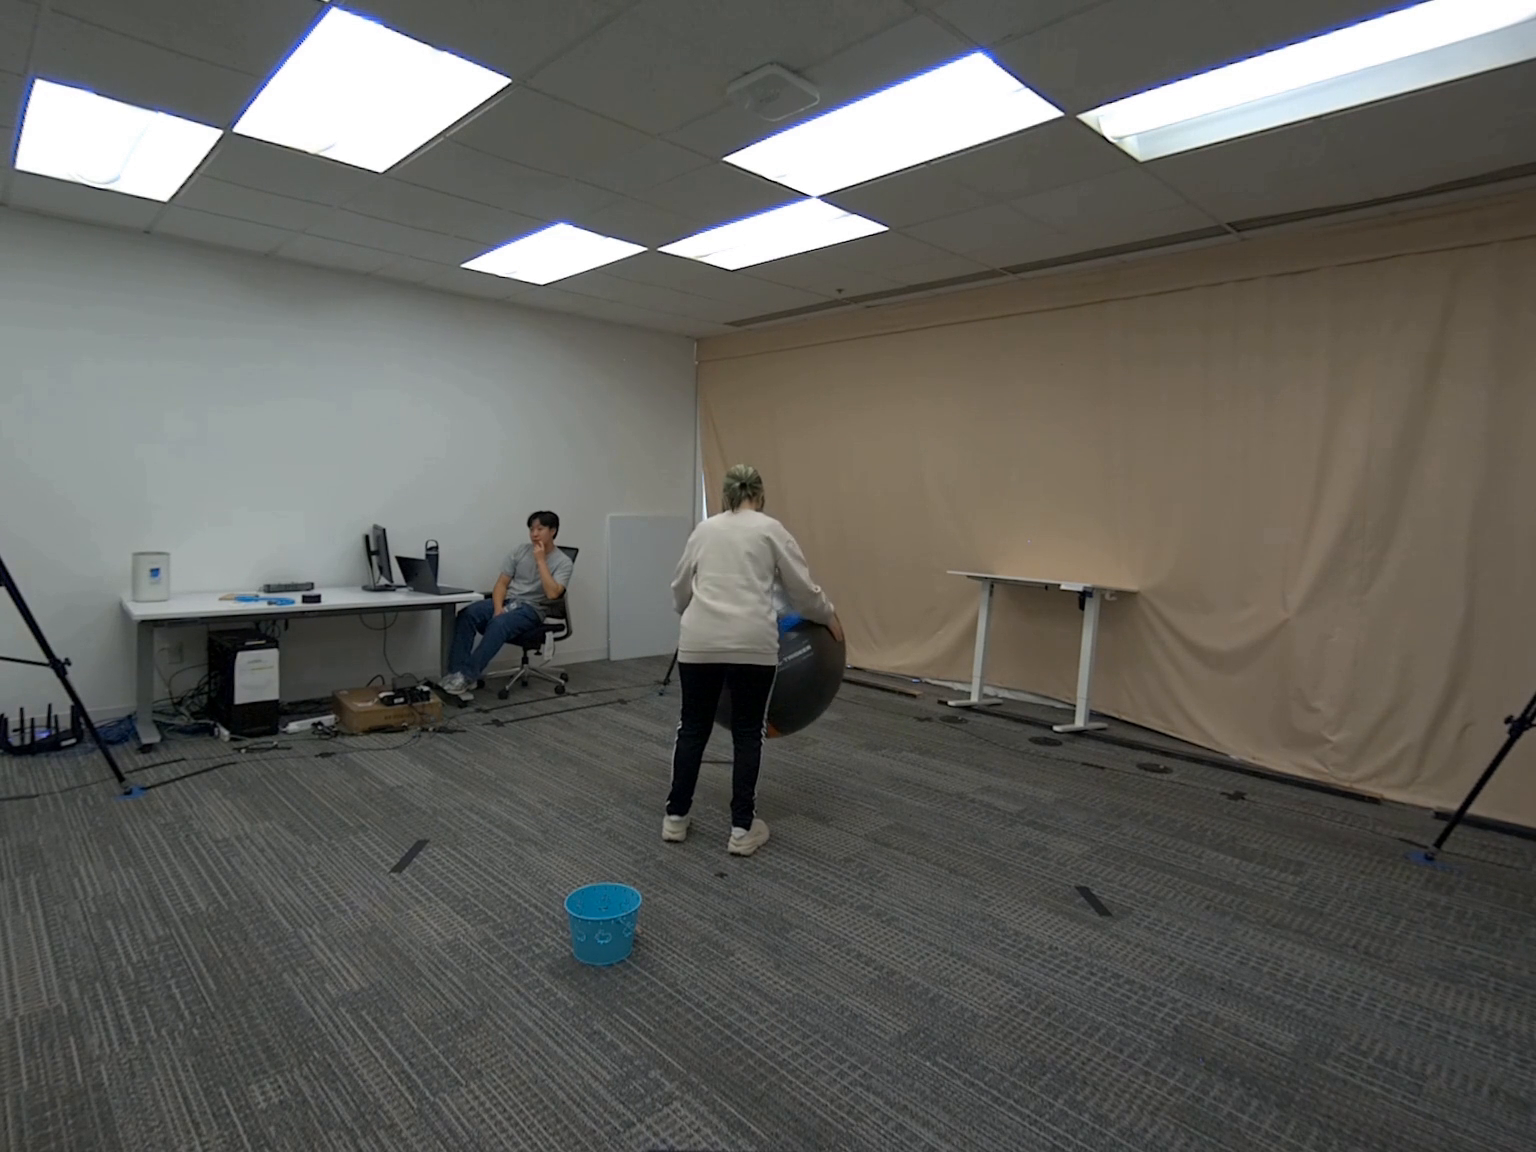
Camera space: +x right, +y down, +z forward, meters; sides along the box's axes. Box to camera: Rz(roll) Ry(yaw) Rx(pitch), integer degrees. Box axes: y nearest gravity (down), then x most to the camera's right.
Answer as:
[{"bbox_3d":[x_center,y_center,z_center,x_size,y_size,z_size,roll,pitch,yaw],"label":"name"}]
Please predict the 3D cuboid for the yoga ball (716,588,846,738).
[{"bbox_3d":[-0.025,0.365,3.853,0.757,0.756,0.761,1,4,-1],"label":"yoga ball"}]
